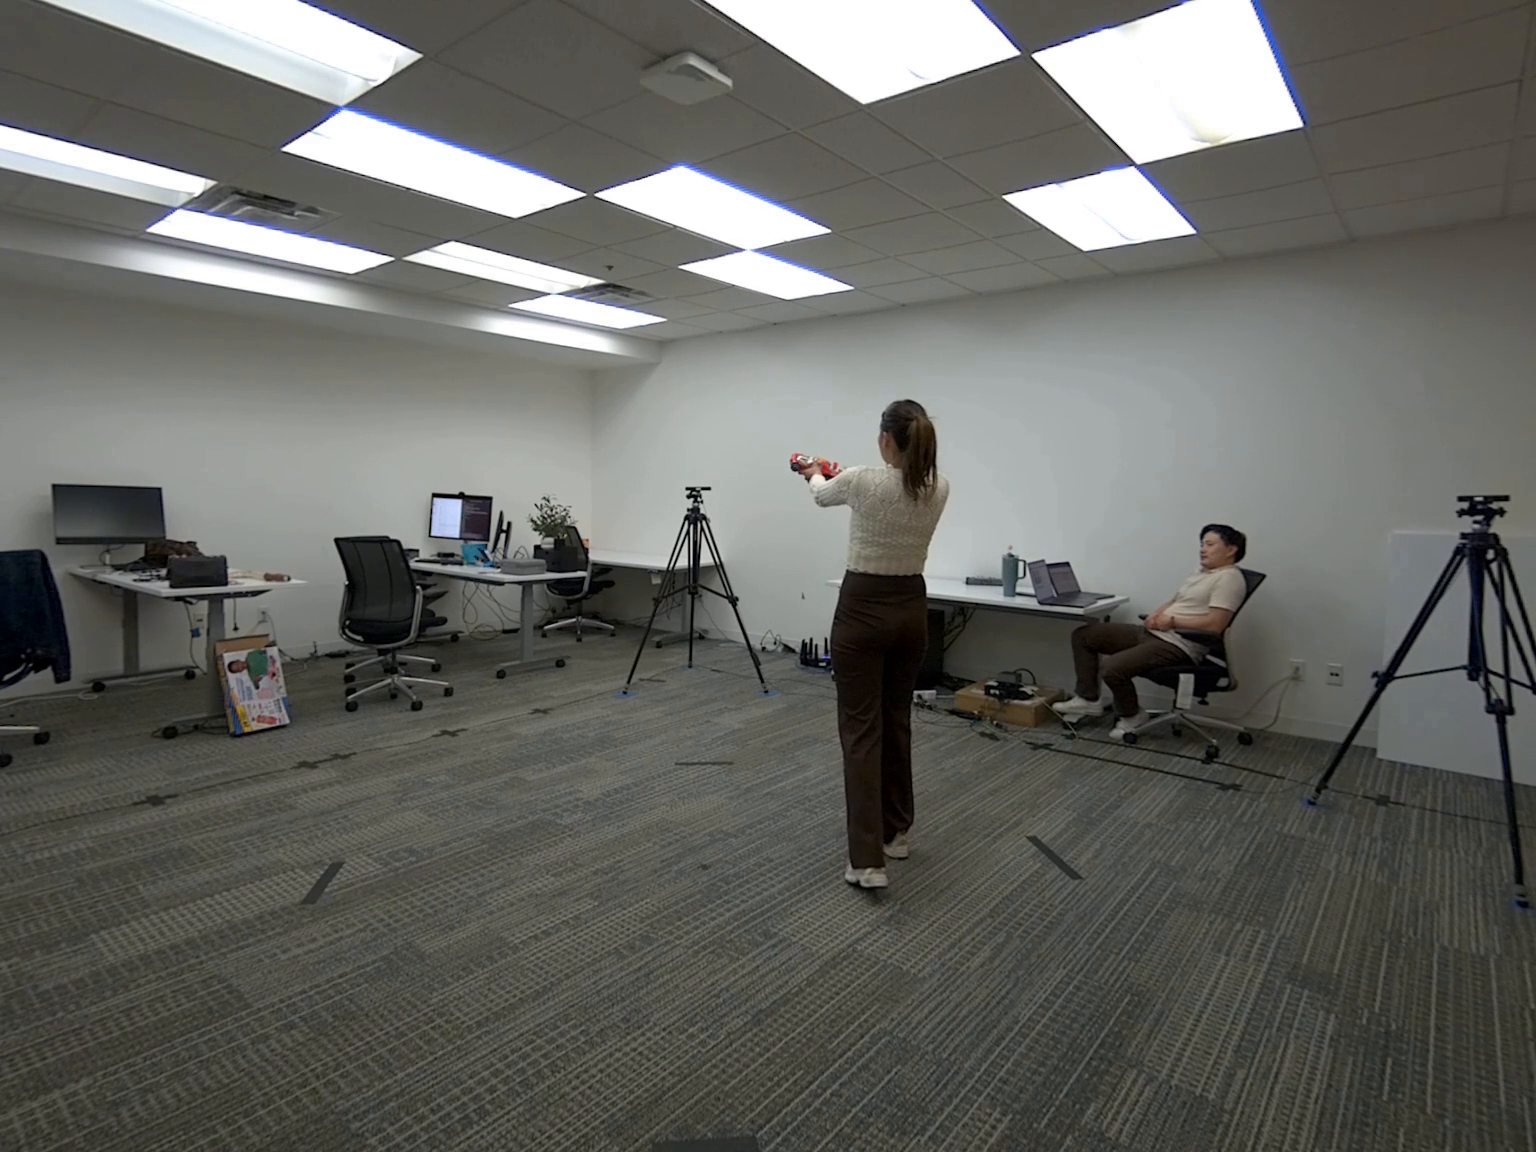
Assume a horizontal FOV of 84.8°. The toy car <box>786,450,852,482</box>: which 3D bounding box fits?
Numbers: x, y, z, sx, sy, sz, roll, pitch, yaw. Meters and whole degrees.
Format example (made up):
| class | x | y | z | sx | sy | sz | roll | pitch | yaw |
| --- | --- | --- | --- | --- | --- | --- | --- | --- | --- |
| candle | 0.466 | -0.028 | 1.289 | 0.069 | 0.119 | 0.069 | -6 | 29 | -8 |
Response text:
| class | x | y | z | sx | sy | sz | roll | pitch | yaw |
| --- | --- | --- | --- | --- | --- | --- | --- | --- | --- |
| toy car | 0.223 | -0.468 | 3.693 | 0.258 | 0.081 | 0.131 | 13 | 28 | 10 |
